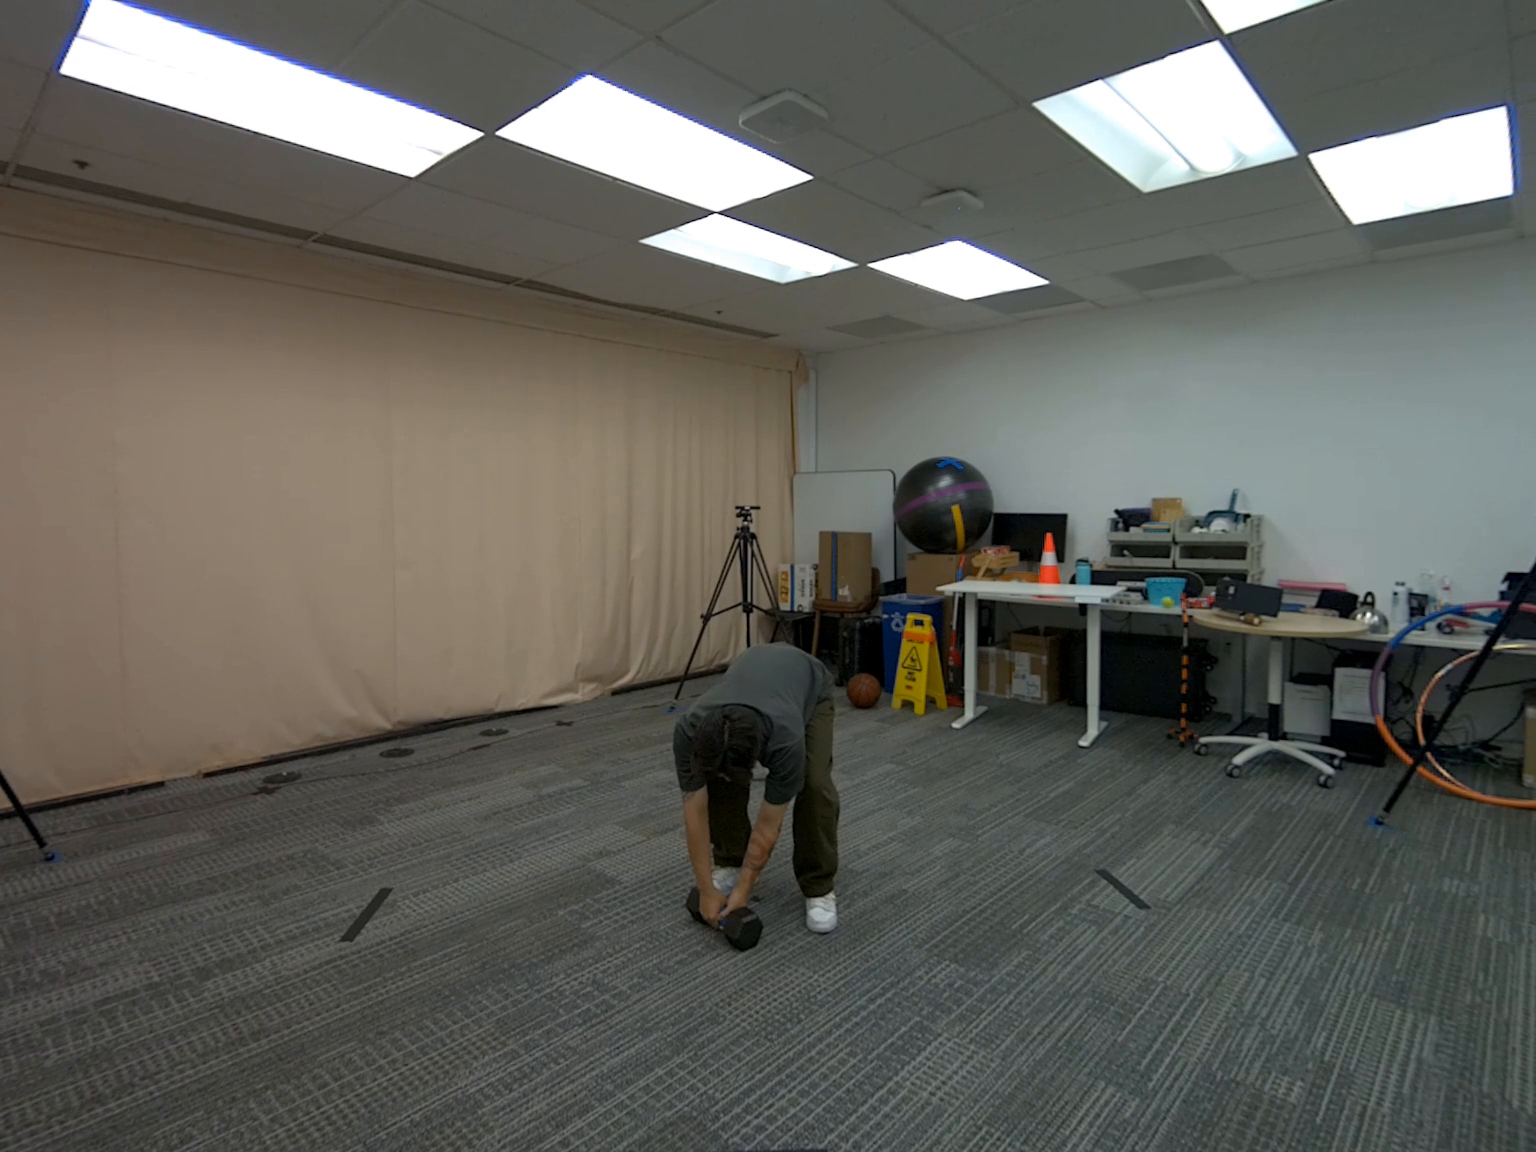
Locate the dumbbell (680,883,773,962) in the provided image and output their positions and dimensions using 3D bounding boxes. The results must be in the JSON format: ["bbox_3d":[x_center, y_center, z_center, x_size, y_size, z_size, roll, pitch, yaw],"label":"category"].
[{"bbox_3d":[-0.141,1.105,2.751,0.107,0.120,0.303,-41,26,-27],"label":"dumbbell"}]
